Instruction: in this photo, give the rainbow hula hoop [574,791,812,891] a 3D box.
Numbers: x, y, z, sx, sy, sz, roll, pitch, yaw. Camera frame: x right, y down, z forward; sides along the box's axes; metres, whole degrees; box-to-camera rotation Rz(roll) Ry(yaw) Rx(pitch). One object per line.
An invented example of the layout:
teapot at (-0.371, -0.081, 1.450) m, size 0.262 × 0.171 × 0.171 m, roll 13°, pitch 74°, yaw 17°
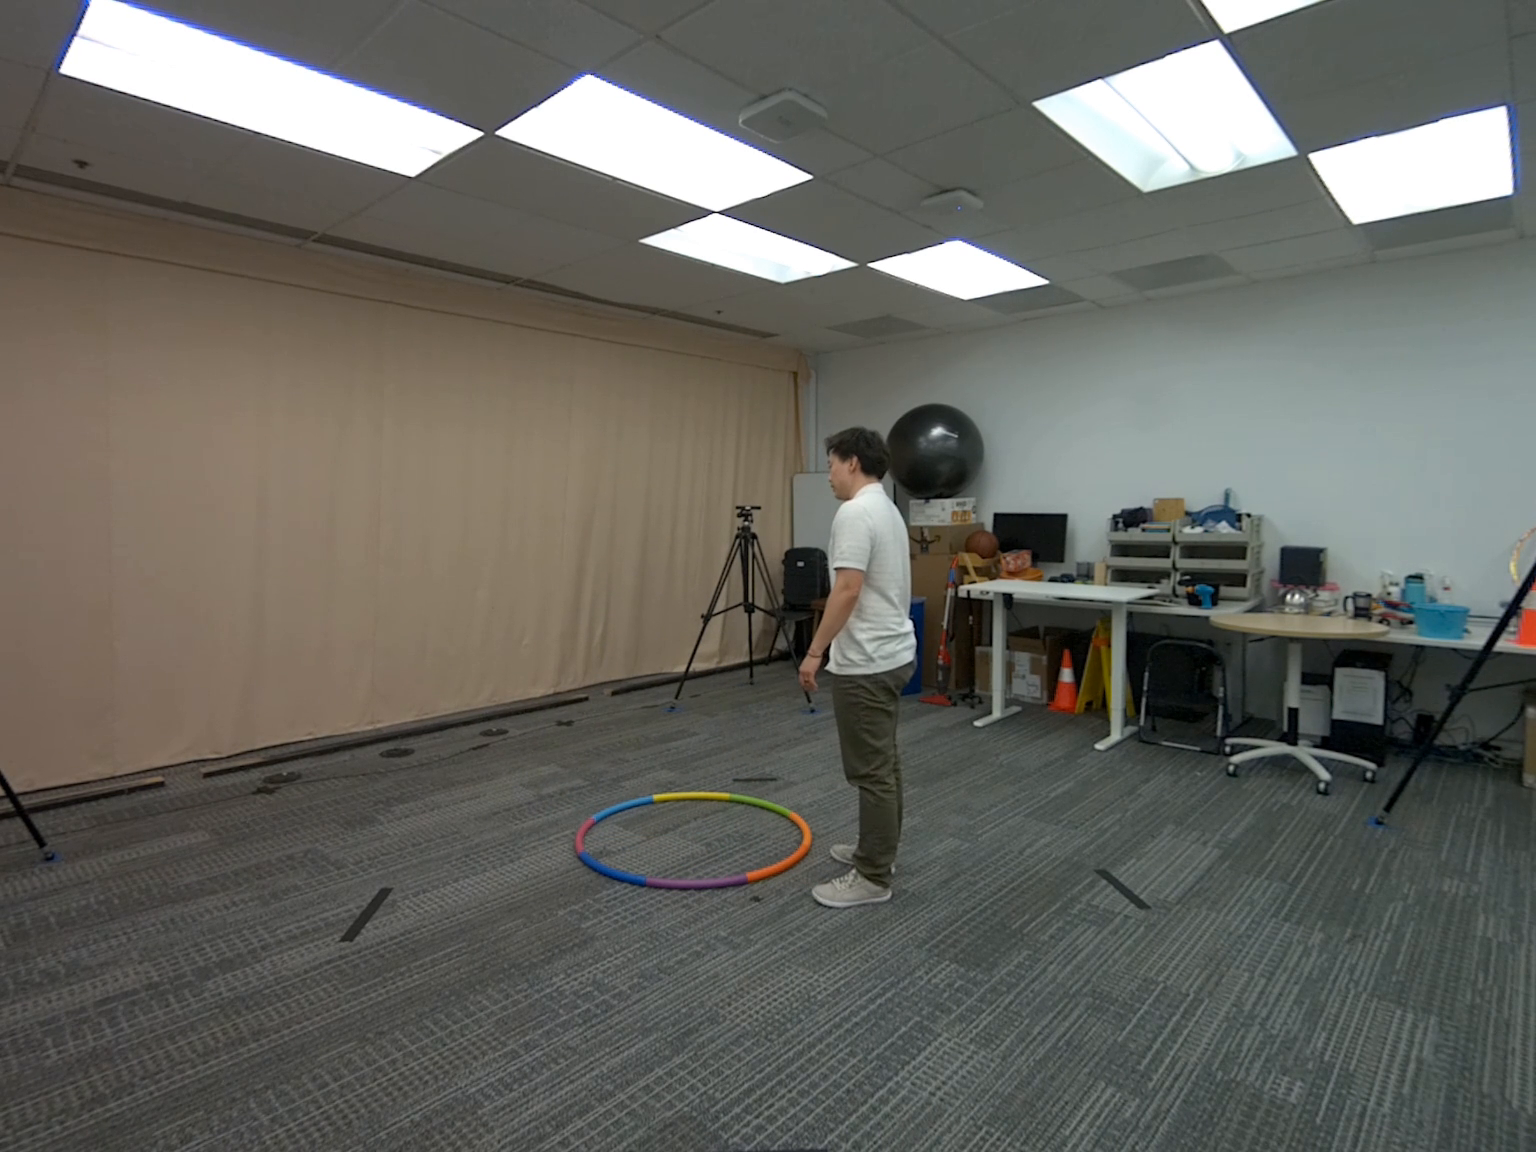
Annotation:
rainbow hula hoop at (-0.309, 1.071, 3.530) m, size 0.978 × 0.035 × 0.982 m, roll -1°, pitch 5°, yaw -2°
